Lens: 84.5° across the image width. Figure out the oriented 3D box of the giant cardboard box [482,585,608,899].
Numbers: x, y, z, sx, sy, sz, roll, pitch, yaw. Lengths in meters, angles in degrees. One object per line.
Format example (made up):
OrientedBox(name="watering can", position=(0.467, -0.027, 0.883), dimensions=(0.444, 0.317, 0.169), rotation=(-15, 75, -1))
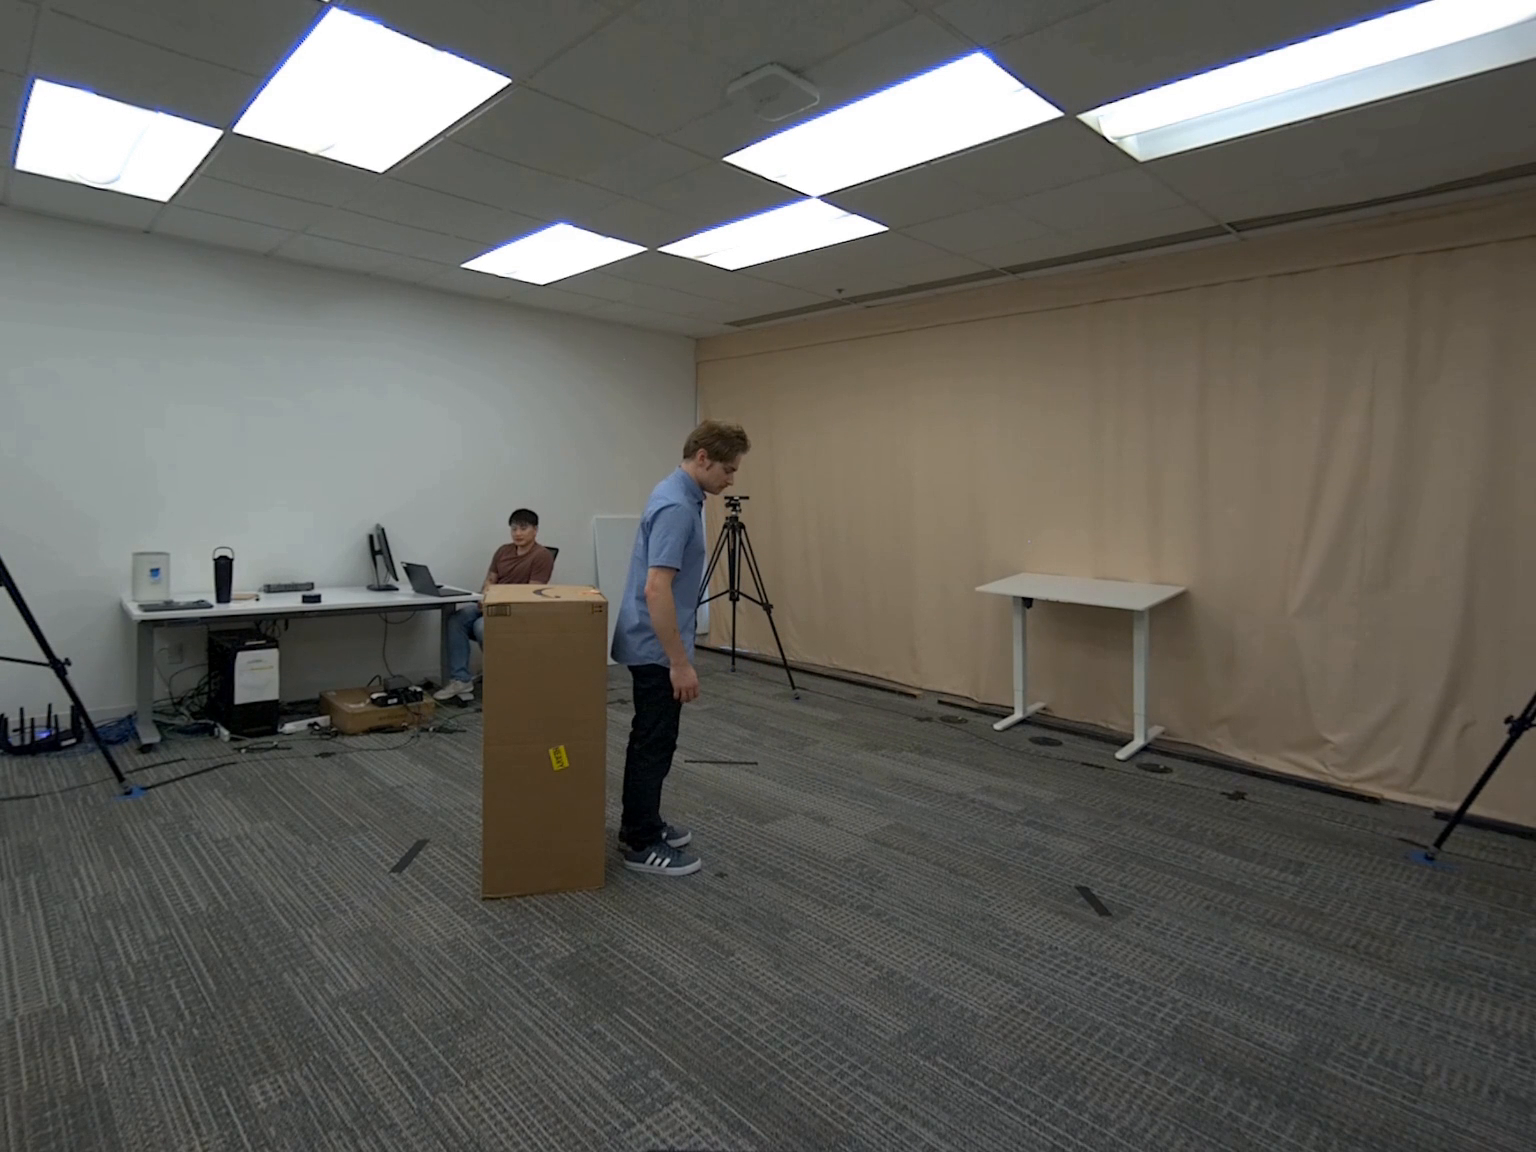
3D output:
OrientedBox(name="giant cardboard box", position=(-0.856, 0.577, 3.176), dimensions=(0.441, 1.025, 0.593), rotation=(0, 3, -17))
